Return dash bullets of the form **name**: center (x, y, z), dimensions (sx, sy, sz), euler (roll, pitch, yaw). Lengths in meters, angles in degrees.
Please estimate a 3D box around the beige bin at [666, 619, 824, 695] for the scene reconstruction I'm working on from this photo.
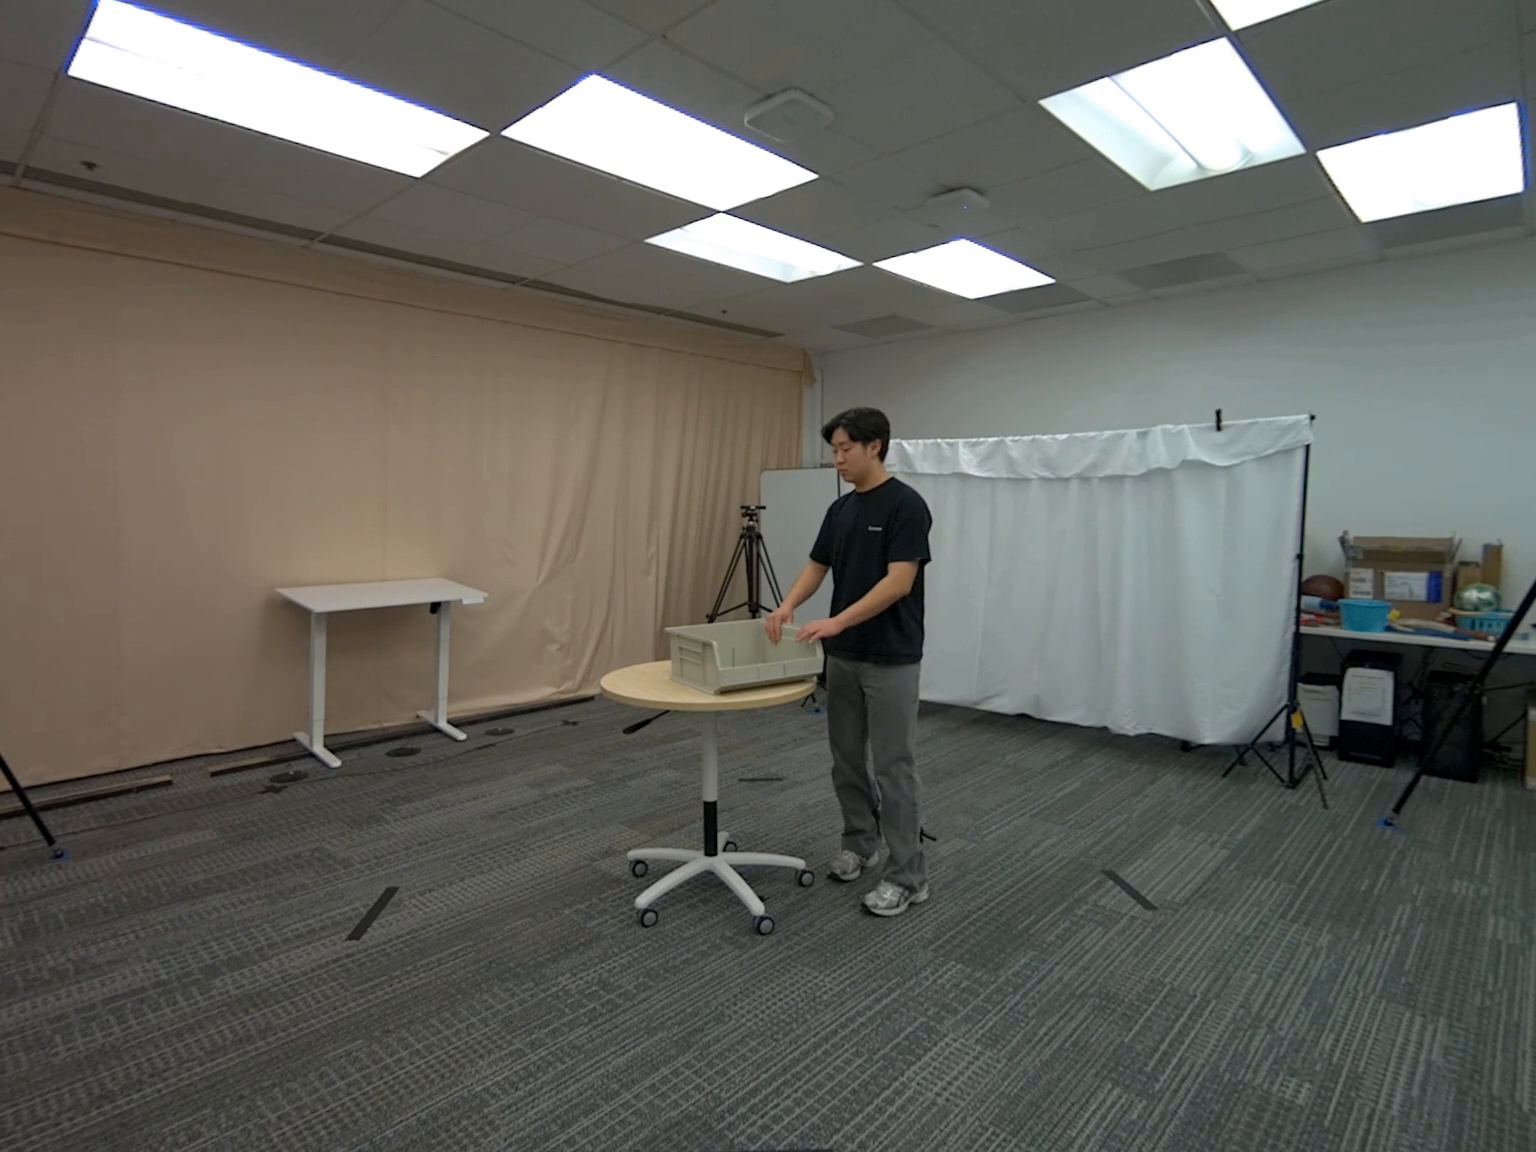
- **beige bin**: center (-0.082, 0.275, 2.928), dimensions (0.411, 0.189, 0.388), euler (-4, 4, -31)
